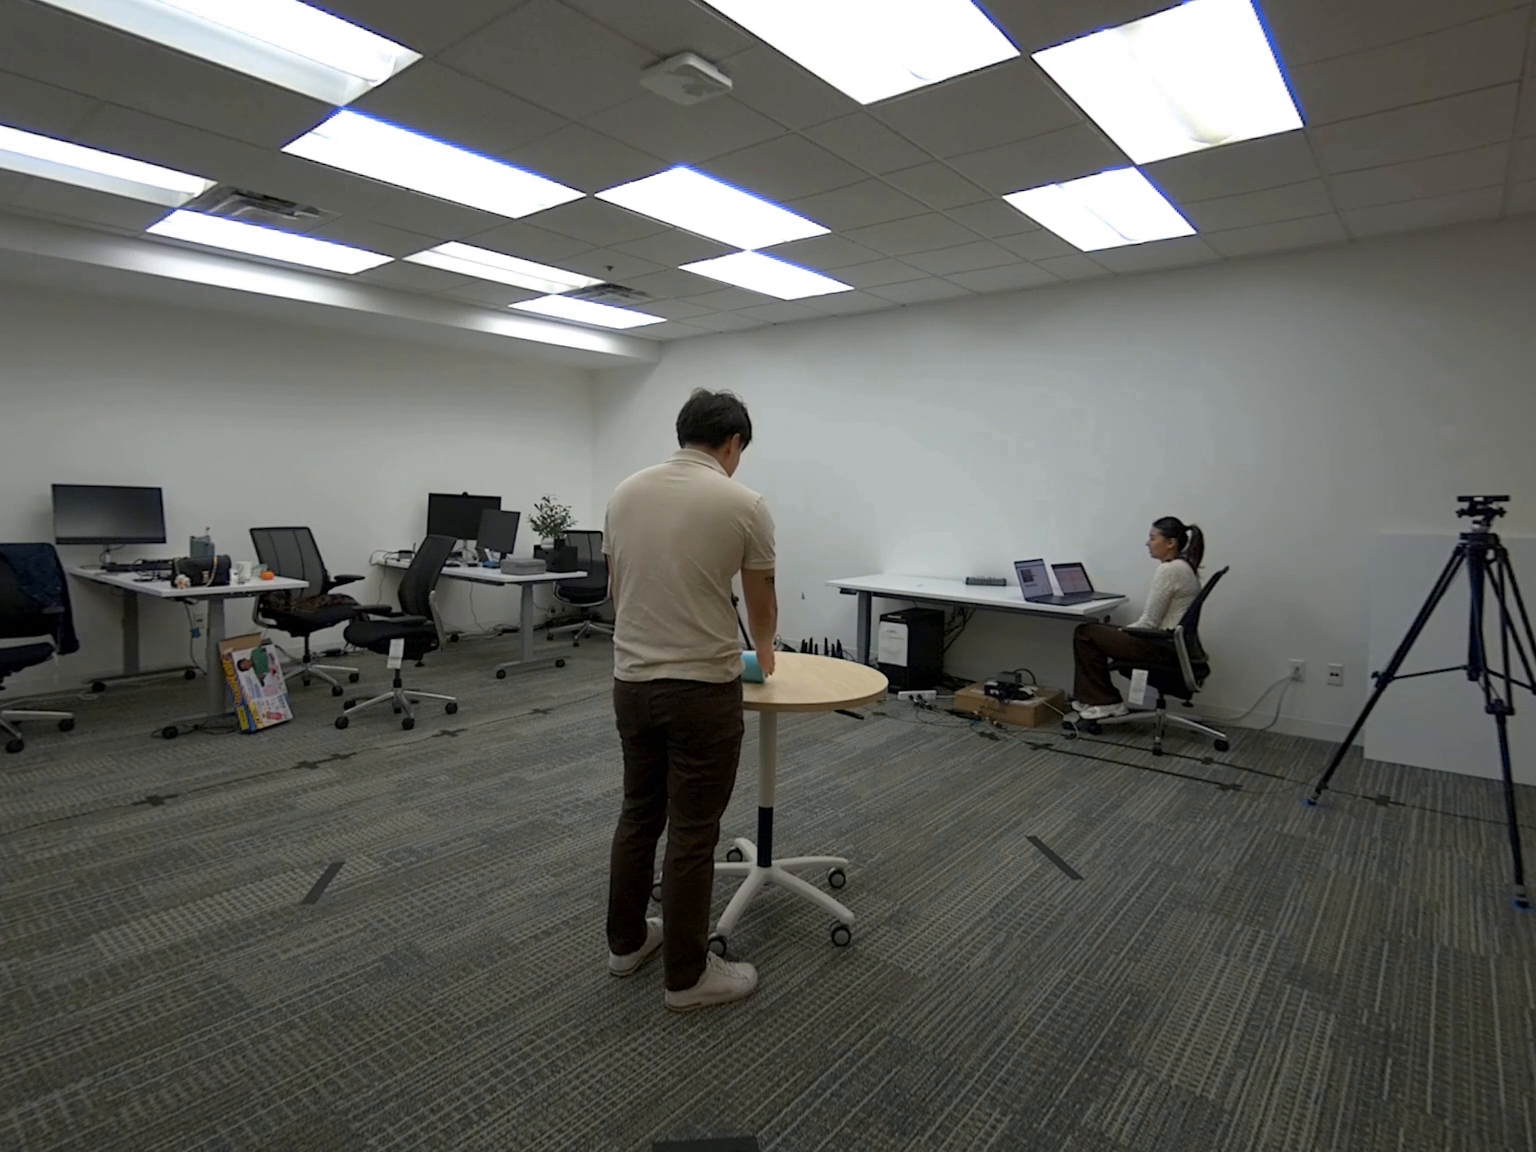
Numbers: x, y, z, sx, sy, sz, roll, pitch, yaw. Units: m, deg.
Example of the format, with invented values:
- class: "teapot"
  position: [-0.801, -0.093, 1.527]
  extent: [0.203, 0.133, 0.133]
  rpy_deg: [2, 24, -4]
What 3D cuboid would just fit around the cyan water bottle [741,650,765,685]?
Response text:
- class: "cyan water bottle"
  position: [-0.149, 0.279, 2.699]
  extent: [0.288, 0.092, 0.091]
  rpy_deg: [2, 4, 15]
